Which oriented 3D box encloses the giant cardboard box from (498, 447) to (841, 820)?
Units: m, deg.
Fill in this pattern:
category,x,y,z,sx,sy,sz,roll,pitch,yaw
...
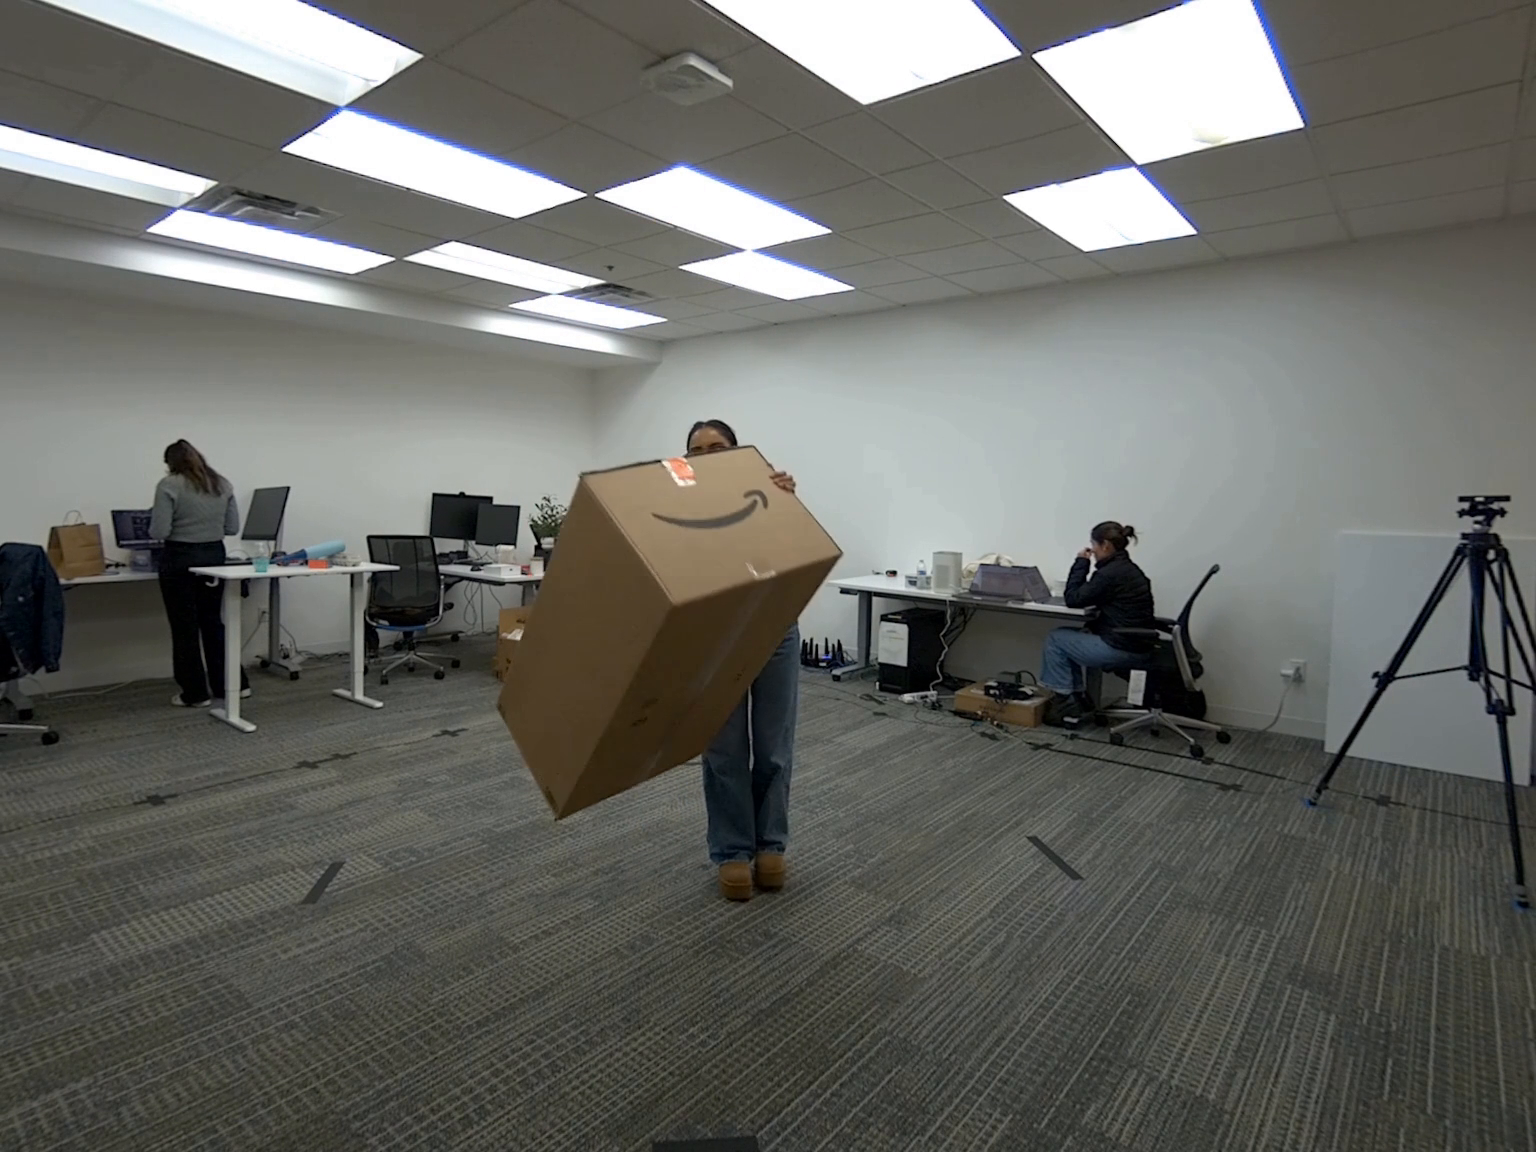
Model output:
category,x,y,z,sx,sy,sz,roll,pitch,yaw
giant cardboard box,-0.343,0.173,2.446,0.564,0.440,1.017,-15,-32,-41
